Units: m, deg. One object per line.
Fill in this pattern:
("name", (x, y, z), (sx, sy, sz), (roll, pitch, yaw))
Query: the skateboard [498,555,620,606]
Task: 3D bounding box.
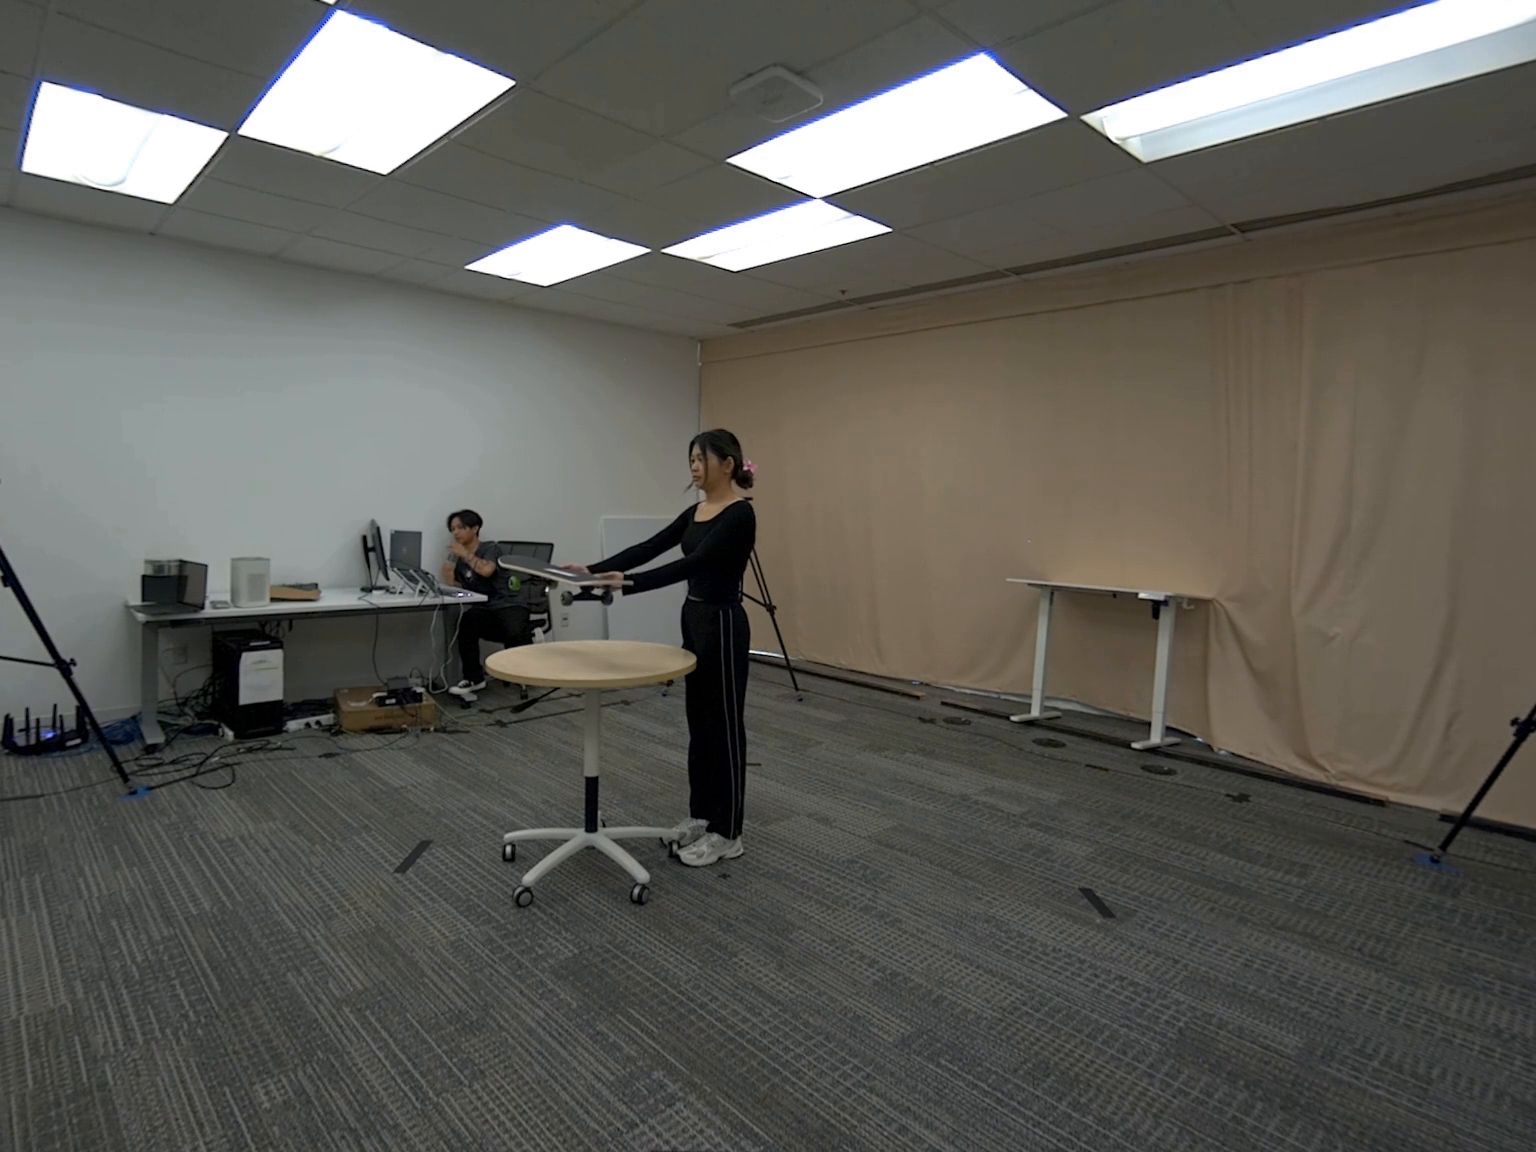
("skateboard", (-0.735, 0.023, 2.981), (0.189, 0.110, 0.806), (0, 6, -41))
